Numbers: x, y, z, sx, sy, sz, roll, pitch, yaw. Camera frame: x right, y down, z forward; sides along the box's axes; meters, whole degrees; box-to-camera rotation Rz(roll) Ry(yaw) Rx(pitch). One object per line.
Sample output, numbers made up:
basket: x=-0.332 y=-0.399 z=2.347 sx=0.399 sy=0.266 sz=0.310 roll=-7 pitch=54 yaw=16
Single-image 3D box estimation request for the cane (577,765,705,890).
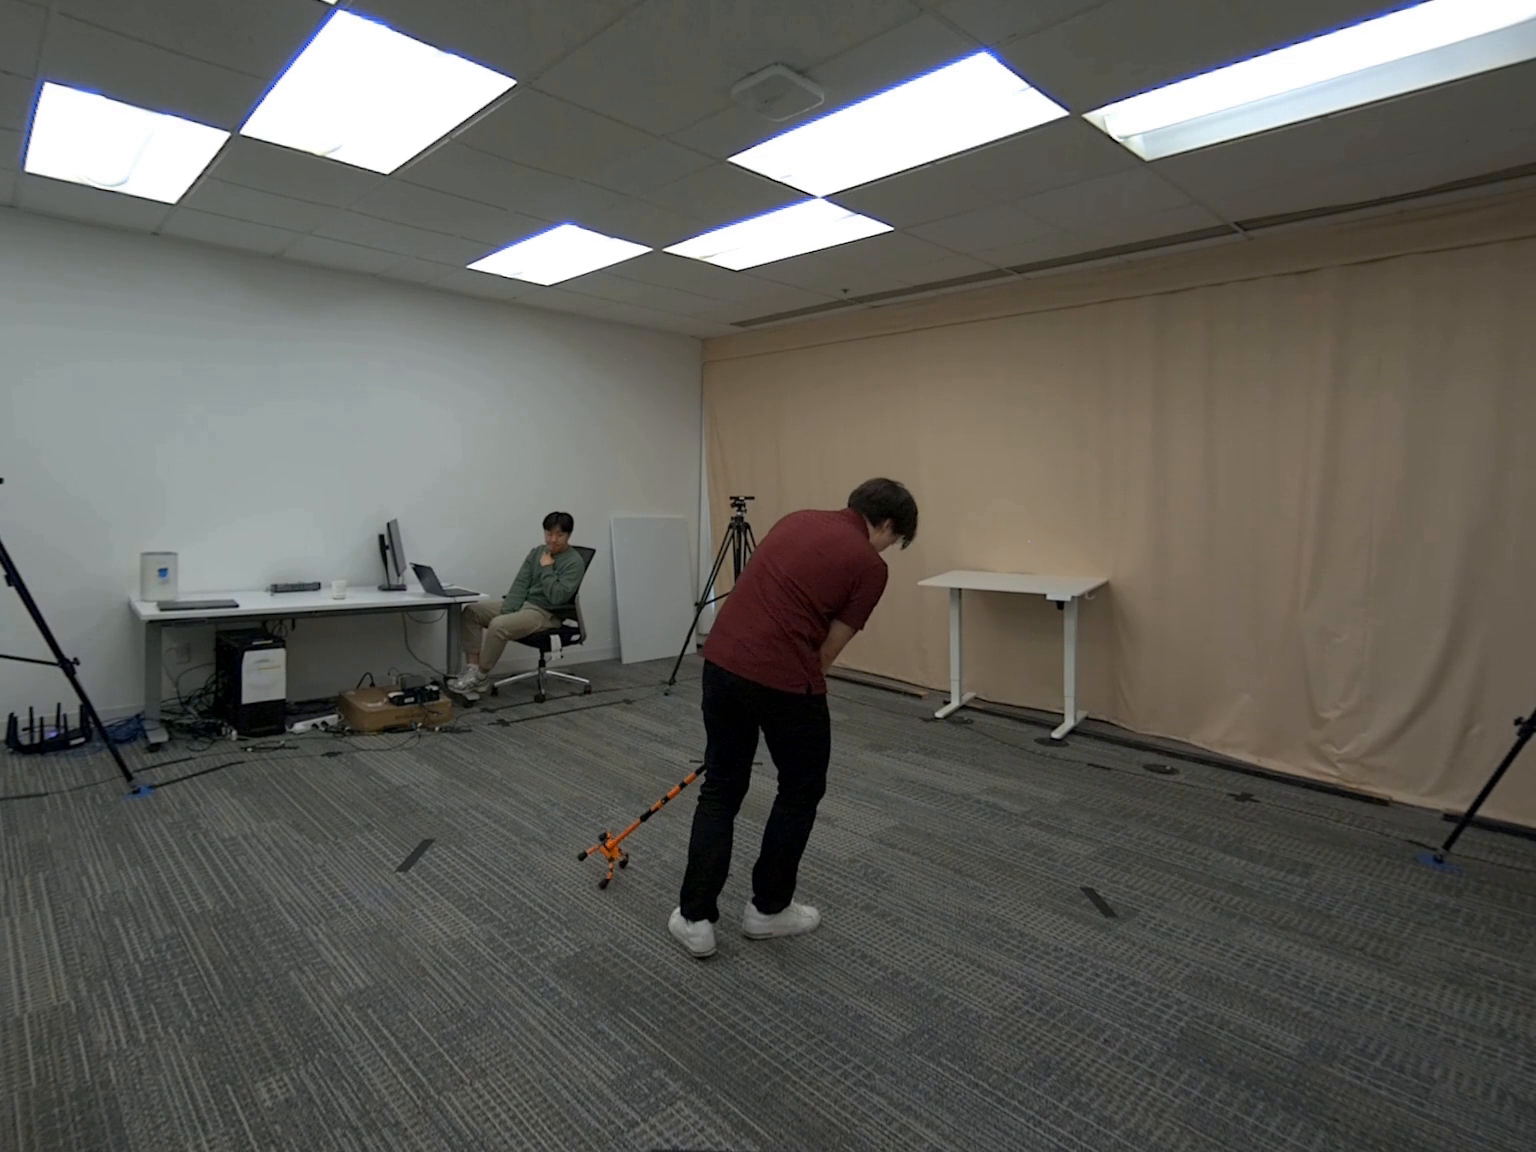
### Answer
cane: x=-0.292 y=0.751 z=2.959 sx=0.909 sy=0.152 sz=0.205 roll=-42 pitch=-4 yaw=14
